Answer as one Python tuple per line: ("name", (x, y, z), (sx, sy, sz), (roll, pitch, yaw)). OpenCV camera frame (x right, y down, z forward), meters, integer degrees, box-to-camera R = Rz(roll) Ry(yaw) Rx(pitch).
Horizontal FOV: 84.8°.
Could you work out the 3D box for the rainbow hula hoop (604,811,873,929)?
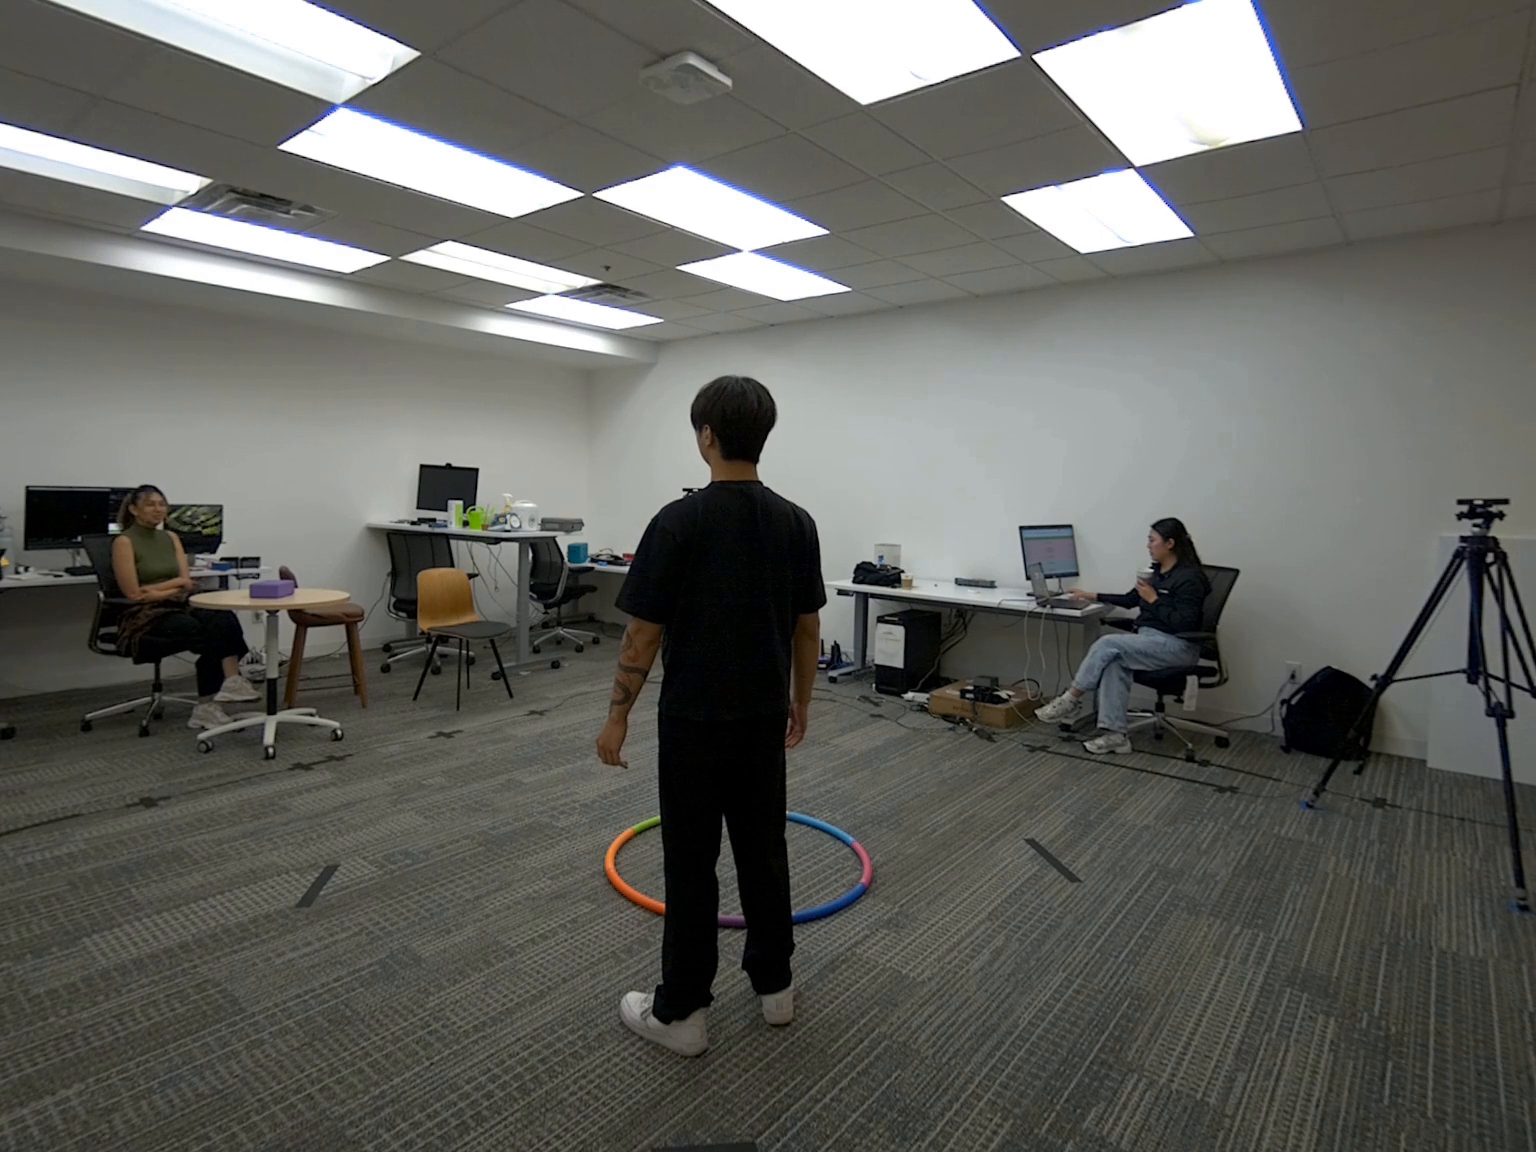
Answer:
("rainbow hula hoop", (-0.122, 1.034, 3.169), (0.978, 0.035, 0.984), (1, 6, -2))
